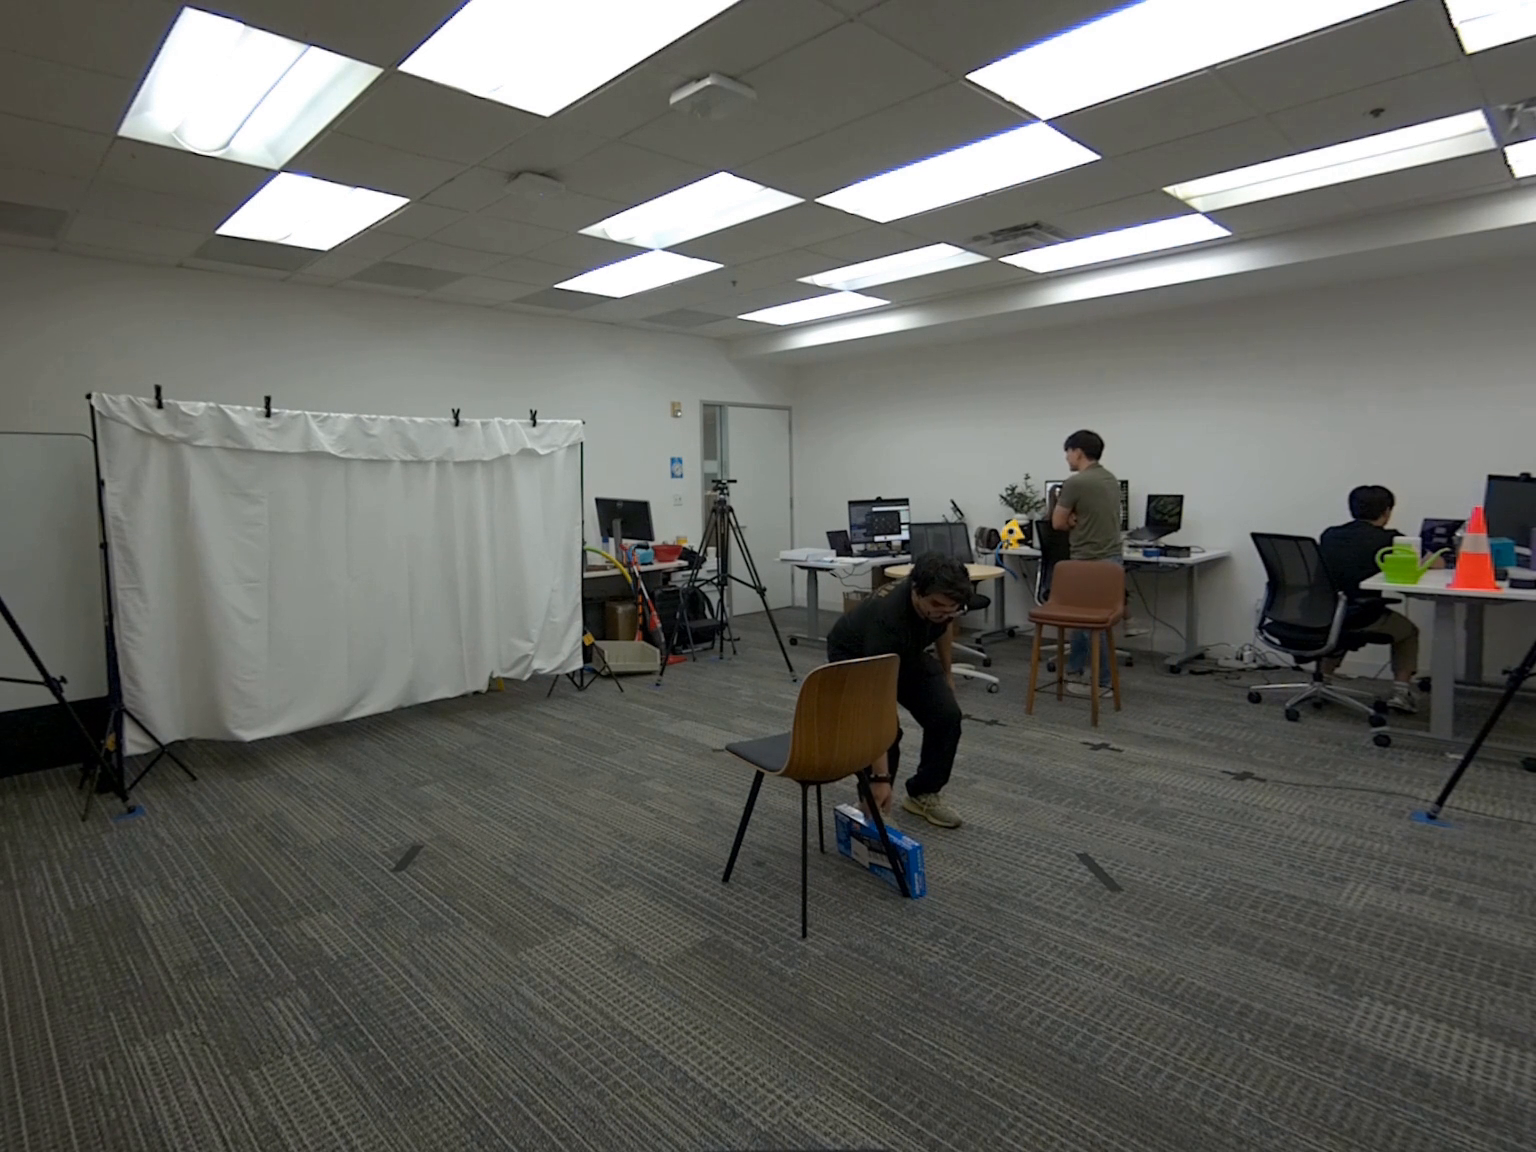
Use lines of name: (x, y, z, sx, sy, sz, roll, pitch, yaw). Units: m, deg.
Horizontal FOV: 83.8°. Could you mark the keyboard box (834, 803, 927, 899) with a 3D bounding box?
keyboard box: (0.391, 0.966, 3.023, 0.058, 0.175, 0.448, -9, 9, -28)
